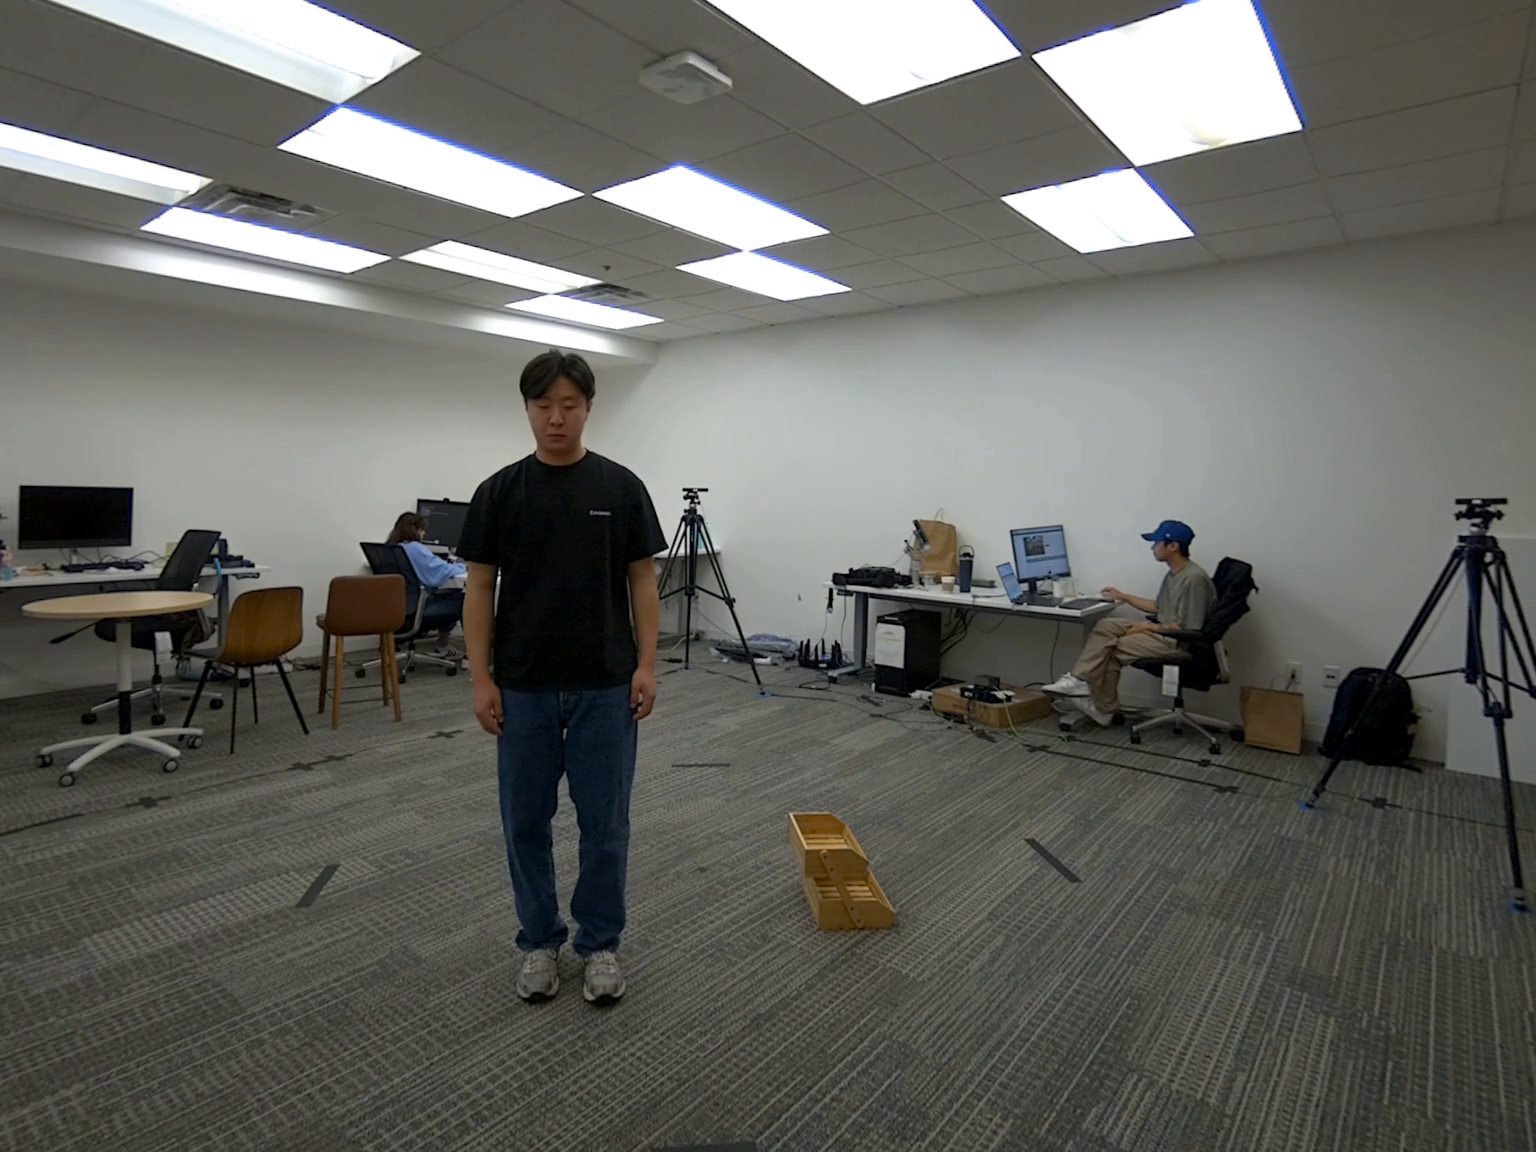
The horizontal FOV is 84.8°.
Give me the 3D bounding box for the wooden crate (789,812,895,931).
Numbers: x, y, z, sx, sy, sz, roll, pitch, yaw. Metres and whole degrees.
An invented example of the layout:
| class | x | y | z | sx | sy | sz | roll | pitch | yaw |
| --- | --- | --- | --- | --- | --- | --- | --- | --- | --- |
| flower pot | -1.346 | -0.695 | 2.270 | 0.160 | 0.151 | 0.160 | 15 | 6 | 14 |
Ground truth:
| class | x | y | z | sx | sy | sz | roll | pitch | yaw |
| --- | --- | --- | --- | --- | --- | --- | --- | --- | --- |
| wooden crate | 0.244 | 0.971 | 2.852 | 0.300 | 0.272 | 0.328 | 2 | 4 | -7 |
